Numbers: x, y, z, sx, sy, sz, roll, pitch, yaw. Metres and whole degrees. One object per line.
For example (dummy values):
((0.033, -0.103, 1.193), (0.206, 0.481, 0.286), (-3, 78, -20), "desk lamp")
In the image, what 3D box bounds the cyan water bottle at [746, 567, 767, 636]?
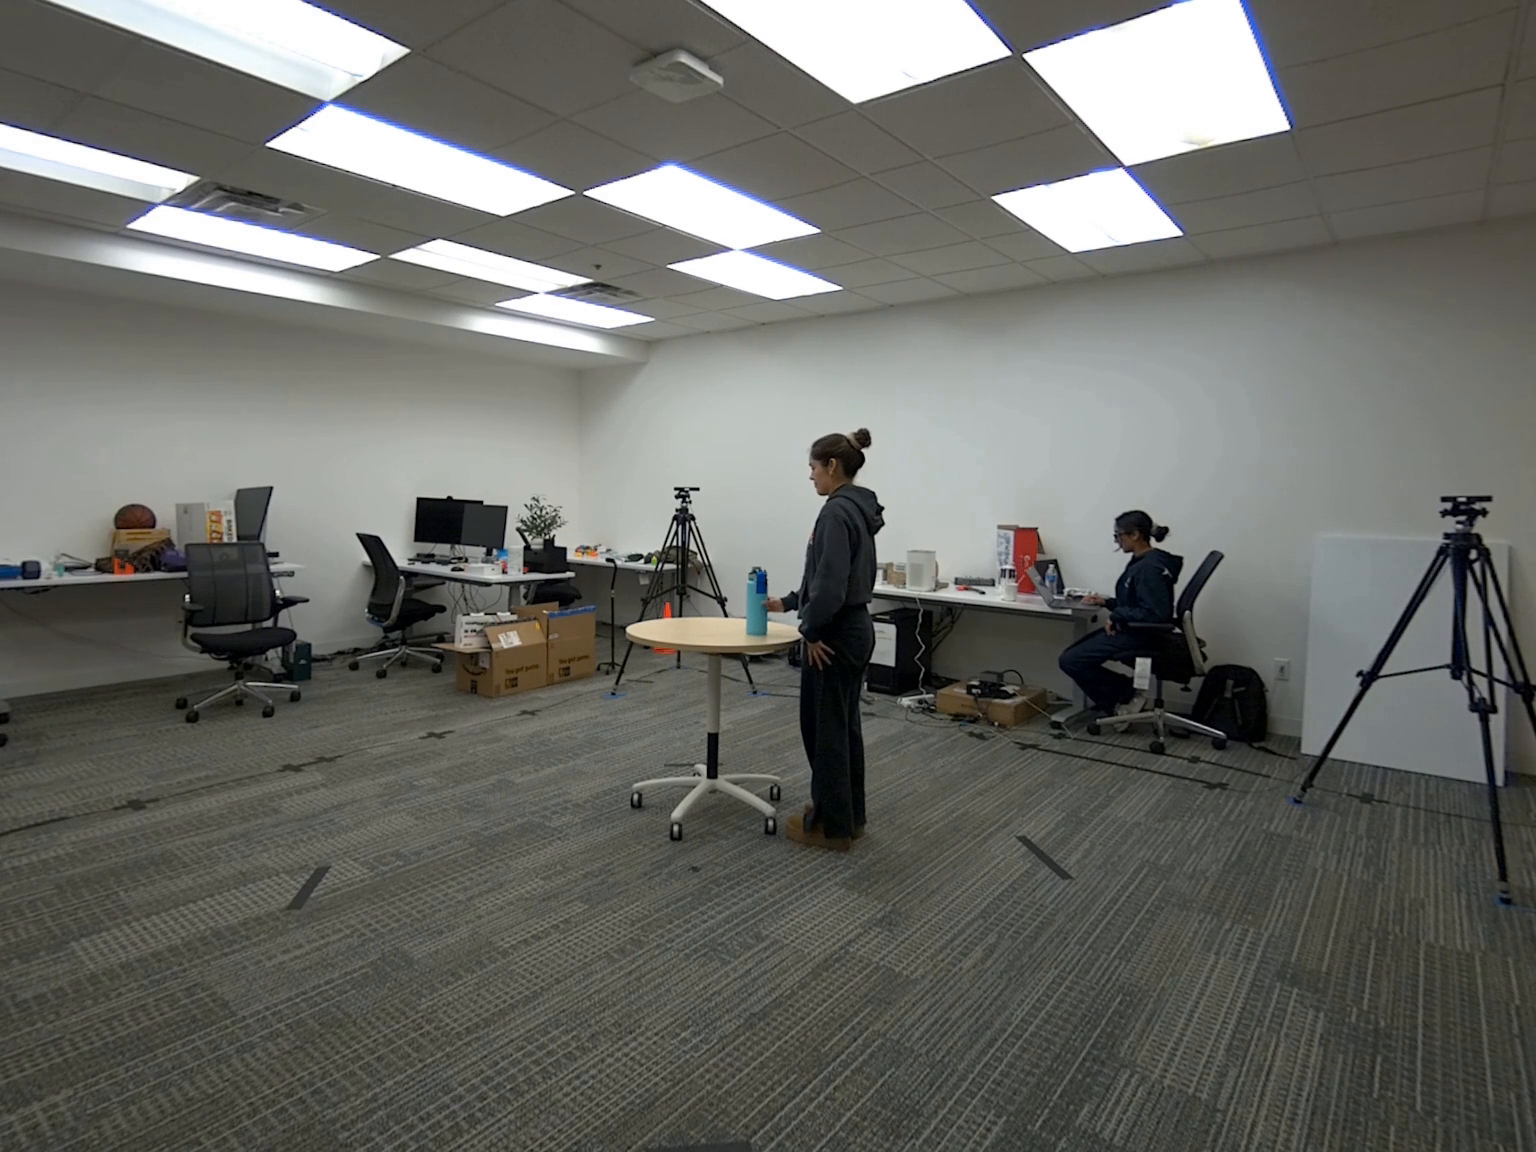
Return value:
((-0.043, 0.103, 3.577), (0.092, 0.282, 0.093), (4, 3, -2), "cyan water bottle")
